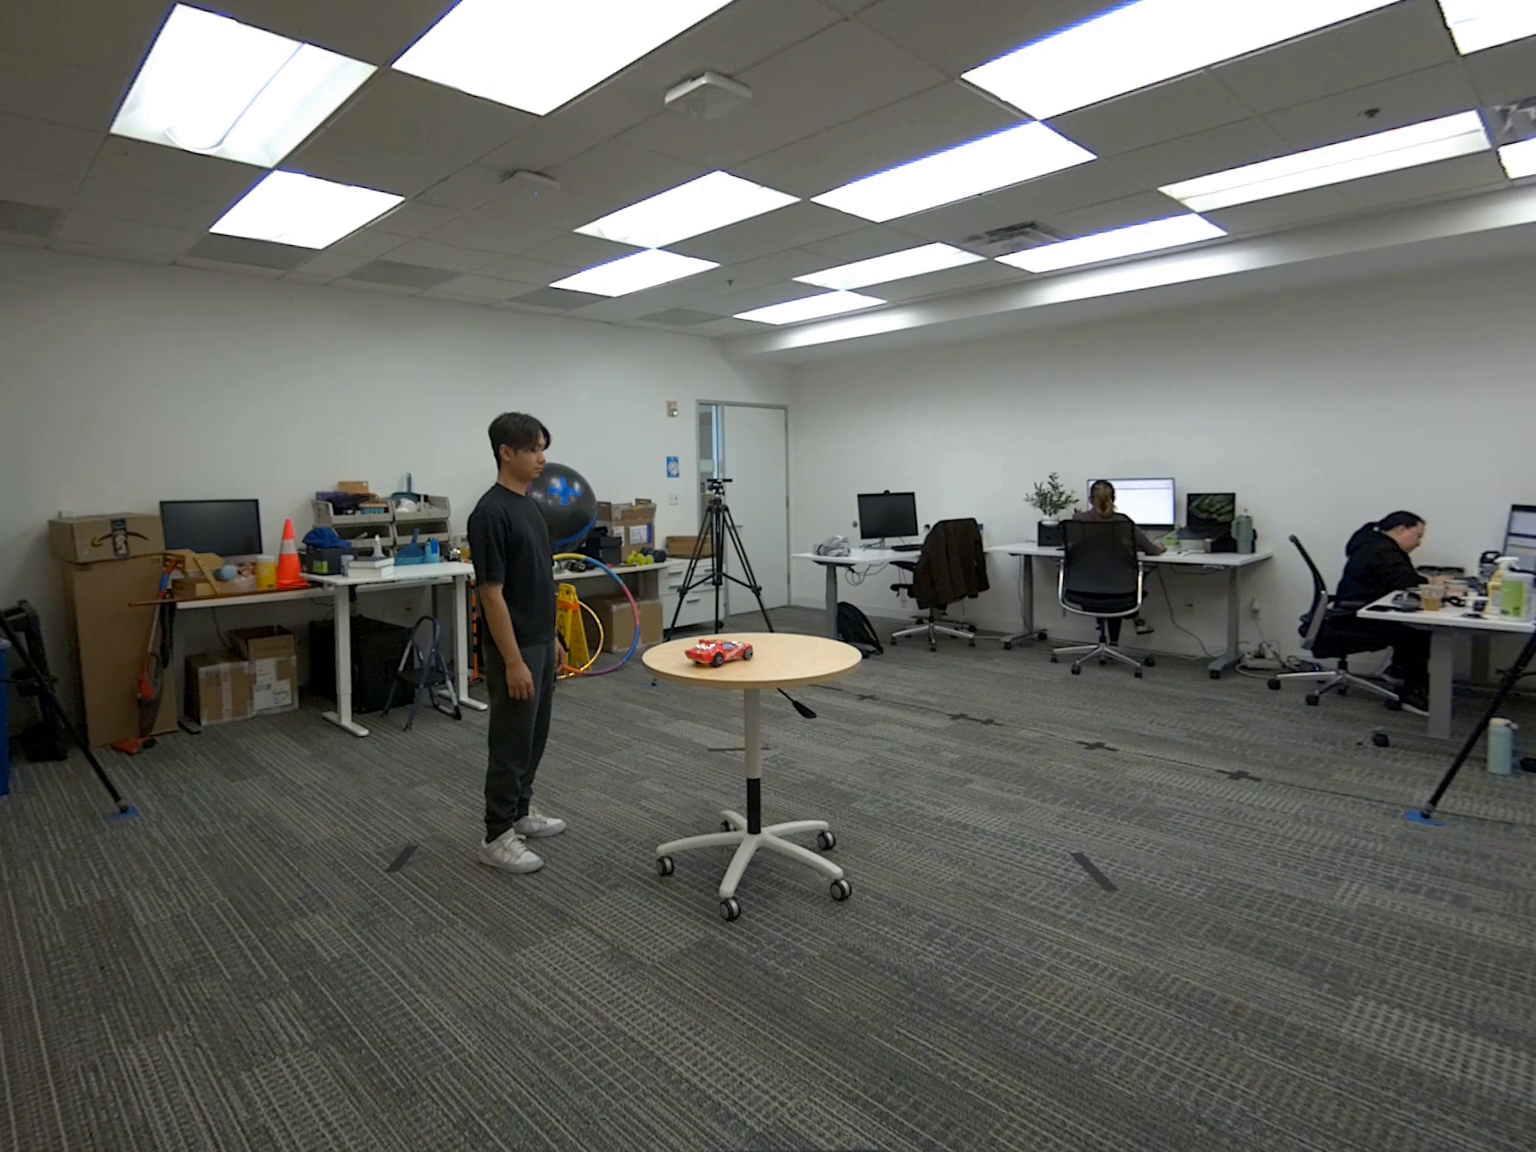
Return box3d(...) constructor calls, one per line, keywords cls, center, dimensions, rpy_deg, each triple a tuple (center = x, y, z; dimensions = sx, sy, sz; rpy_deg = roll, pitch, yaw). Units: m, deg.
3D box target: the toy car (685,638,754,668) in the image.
box3d(cls="toy car", center=(-0.169, 0.258, 2.871), dimensions=(0.134, 0.083, 0.246), rpy_deg=(7, -1, 44))
